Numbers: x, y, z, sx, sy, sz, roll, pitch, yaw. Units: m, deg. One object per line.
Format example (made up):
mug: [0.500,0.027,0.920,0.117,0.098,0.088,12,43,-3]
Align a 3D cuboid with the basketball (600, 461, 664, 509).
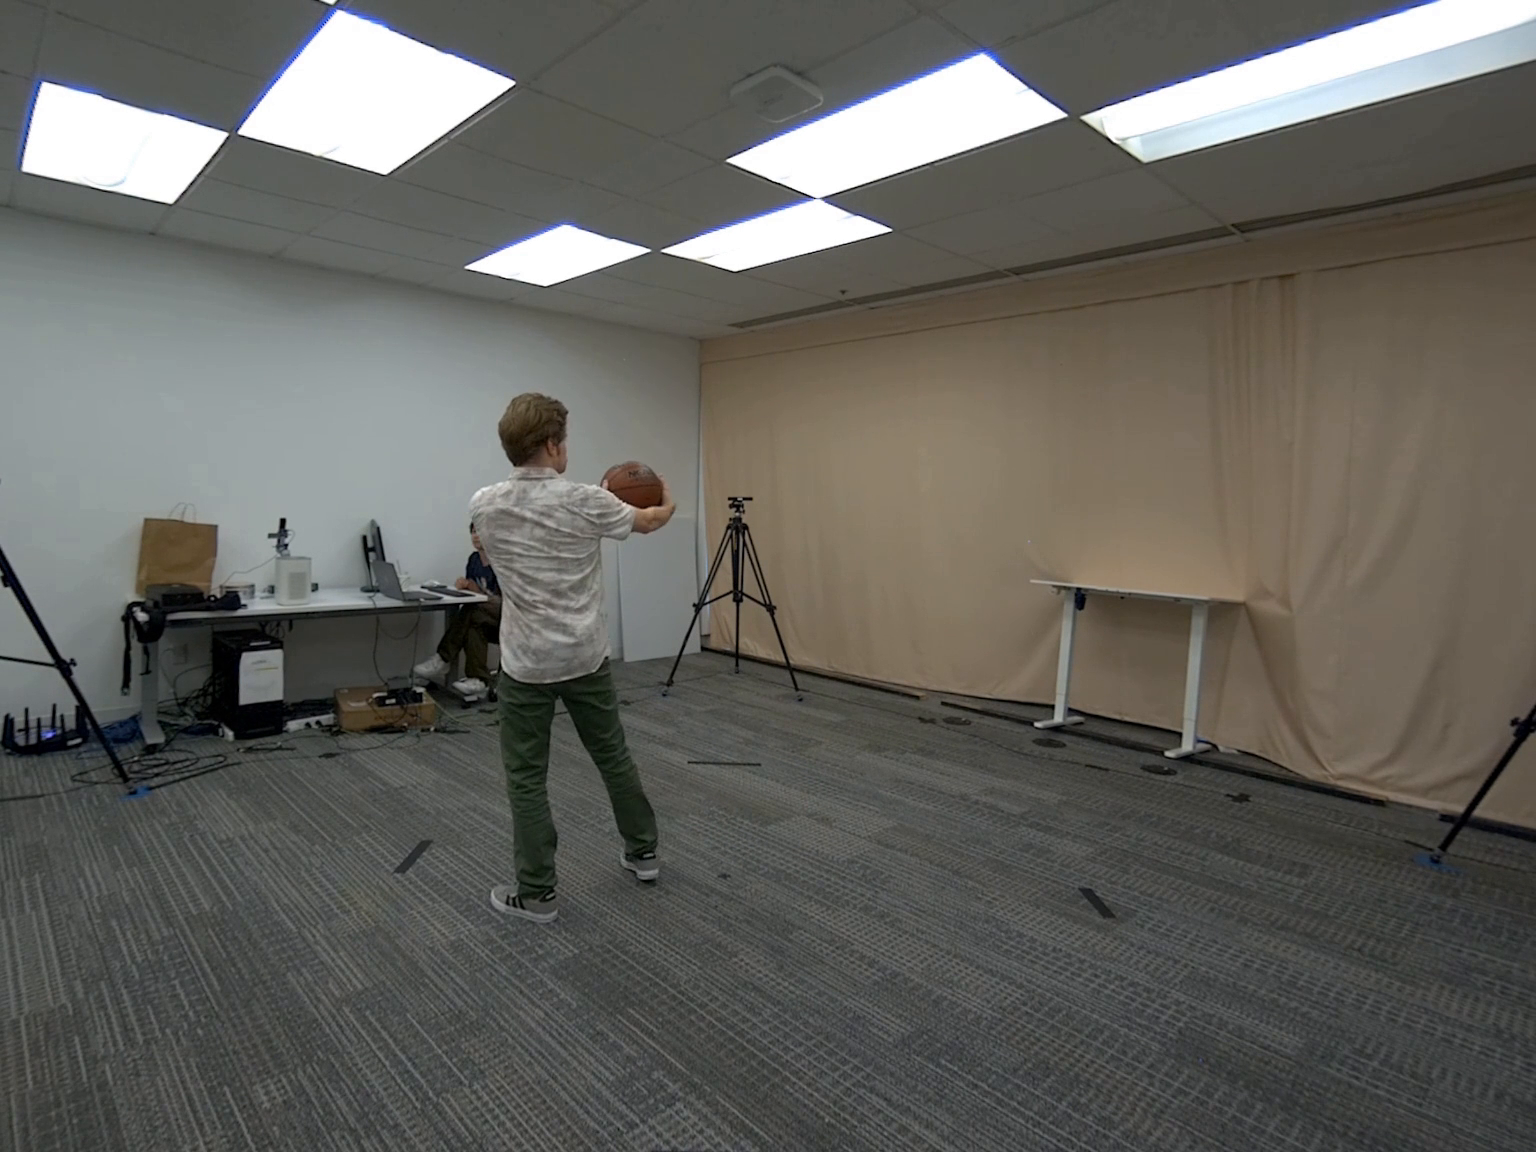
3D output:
basketball: [-0.539,-0.322,3.229,0.236,0.235,0.237,1,4,-1]
